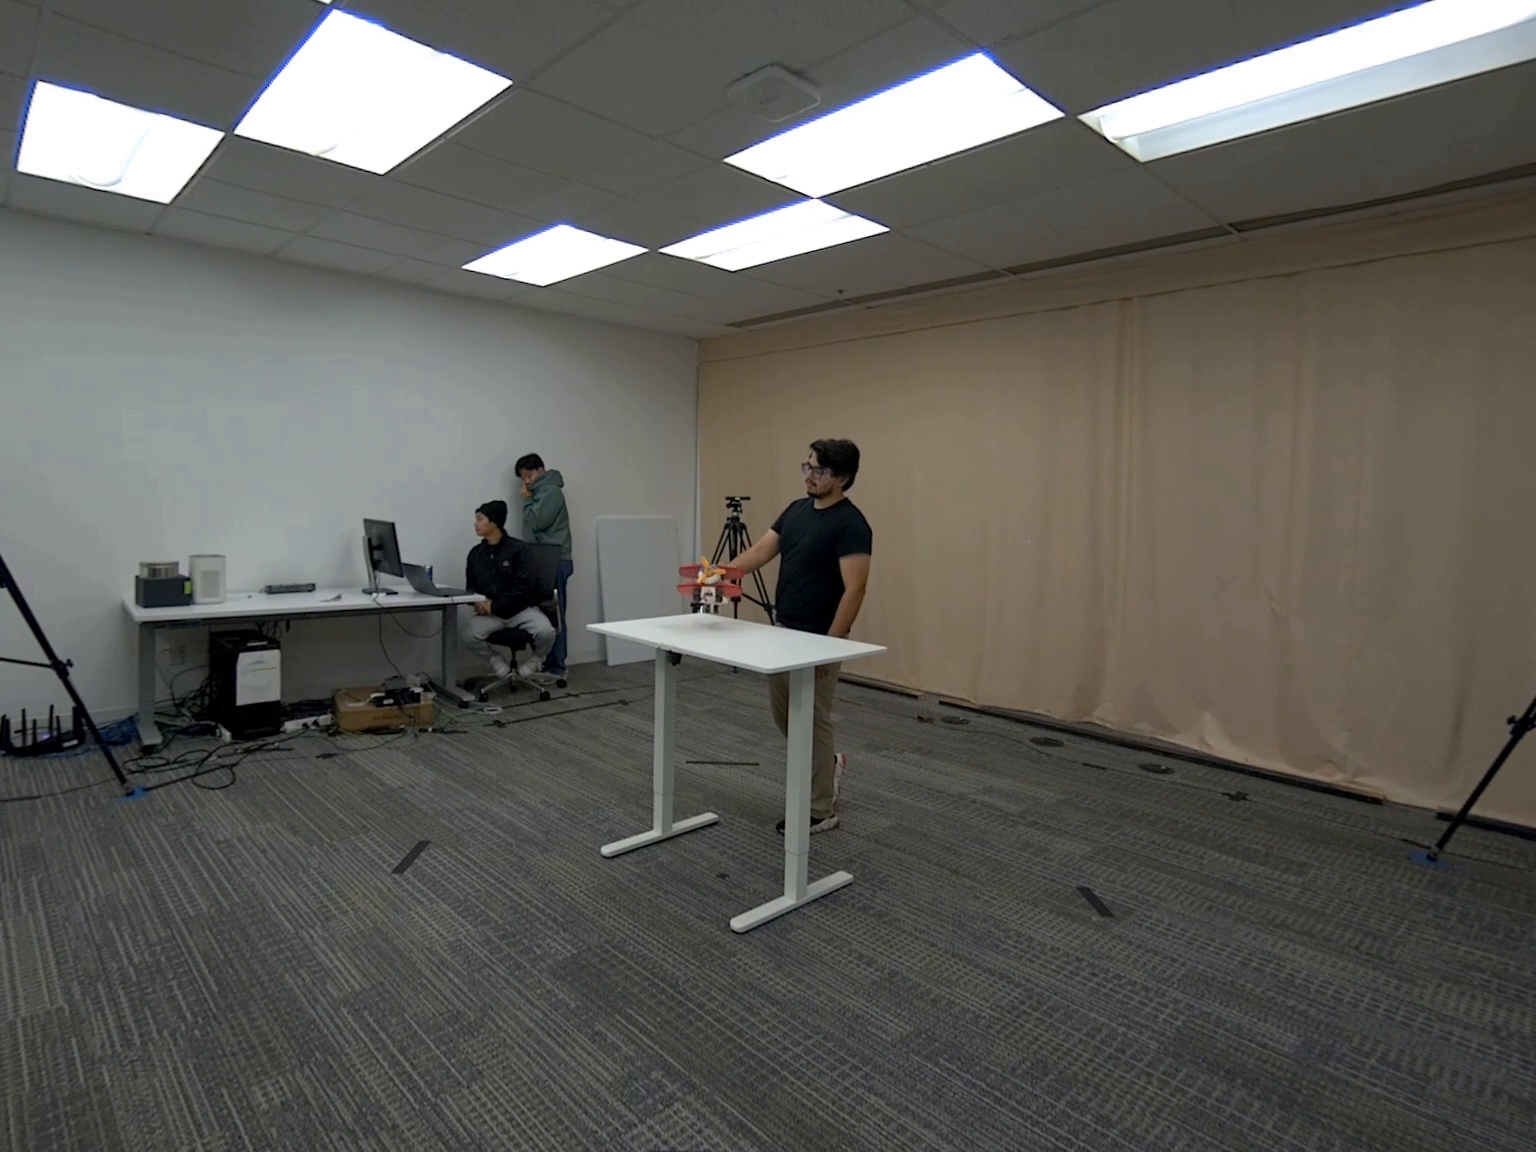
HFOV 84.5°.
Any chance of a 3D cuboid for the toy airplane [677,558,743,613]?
[{"bbox_3d":[-0.253,0.051,3.321,0.246,0.158,0.261,10,-18,-22],"label":"toy airplane"}]
